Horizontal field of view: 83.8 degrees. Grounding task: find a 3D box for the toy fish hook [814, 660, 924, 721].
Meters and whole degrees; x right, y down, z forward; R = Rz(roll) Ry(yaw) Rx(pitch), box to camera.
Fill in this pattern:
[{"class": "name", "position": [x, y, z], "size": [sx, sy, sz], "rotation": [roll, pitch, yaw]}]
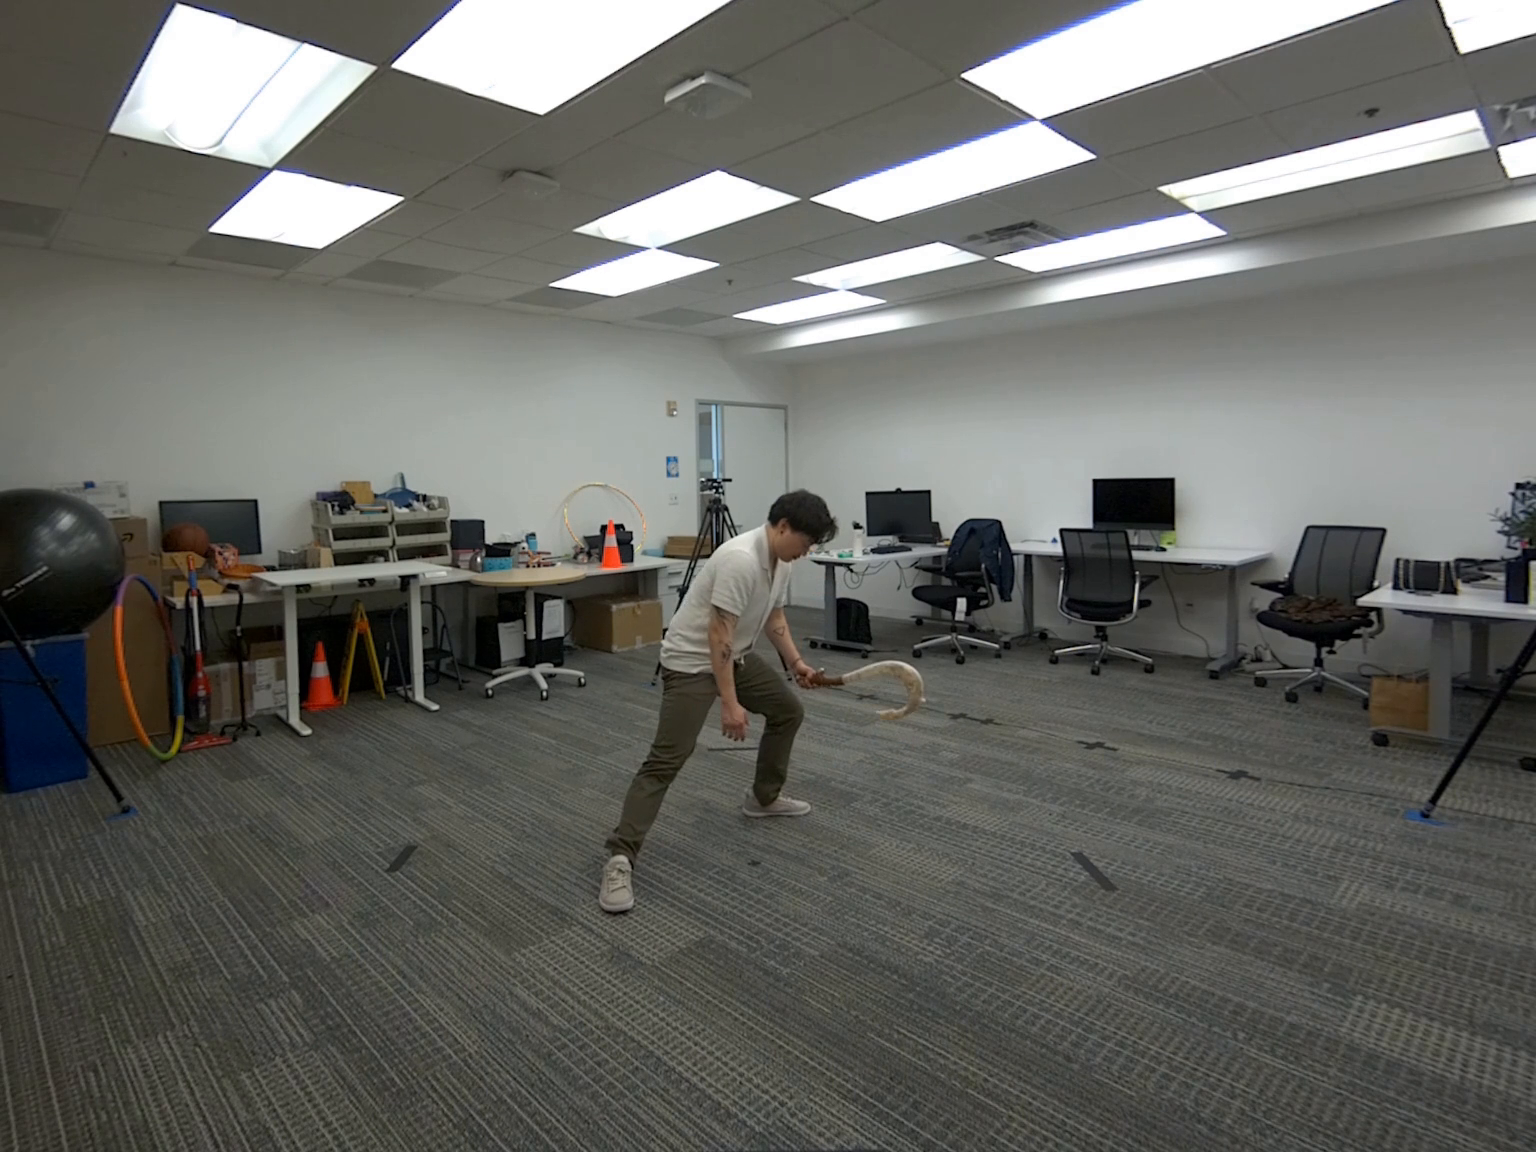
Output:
[{"class": "toy fish hook", "position": [0.340, 0.443, 3.269], "size": [0.518, 0.225, 0.047], "rotation": [-5, 0, 29]}]
